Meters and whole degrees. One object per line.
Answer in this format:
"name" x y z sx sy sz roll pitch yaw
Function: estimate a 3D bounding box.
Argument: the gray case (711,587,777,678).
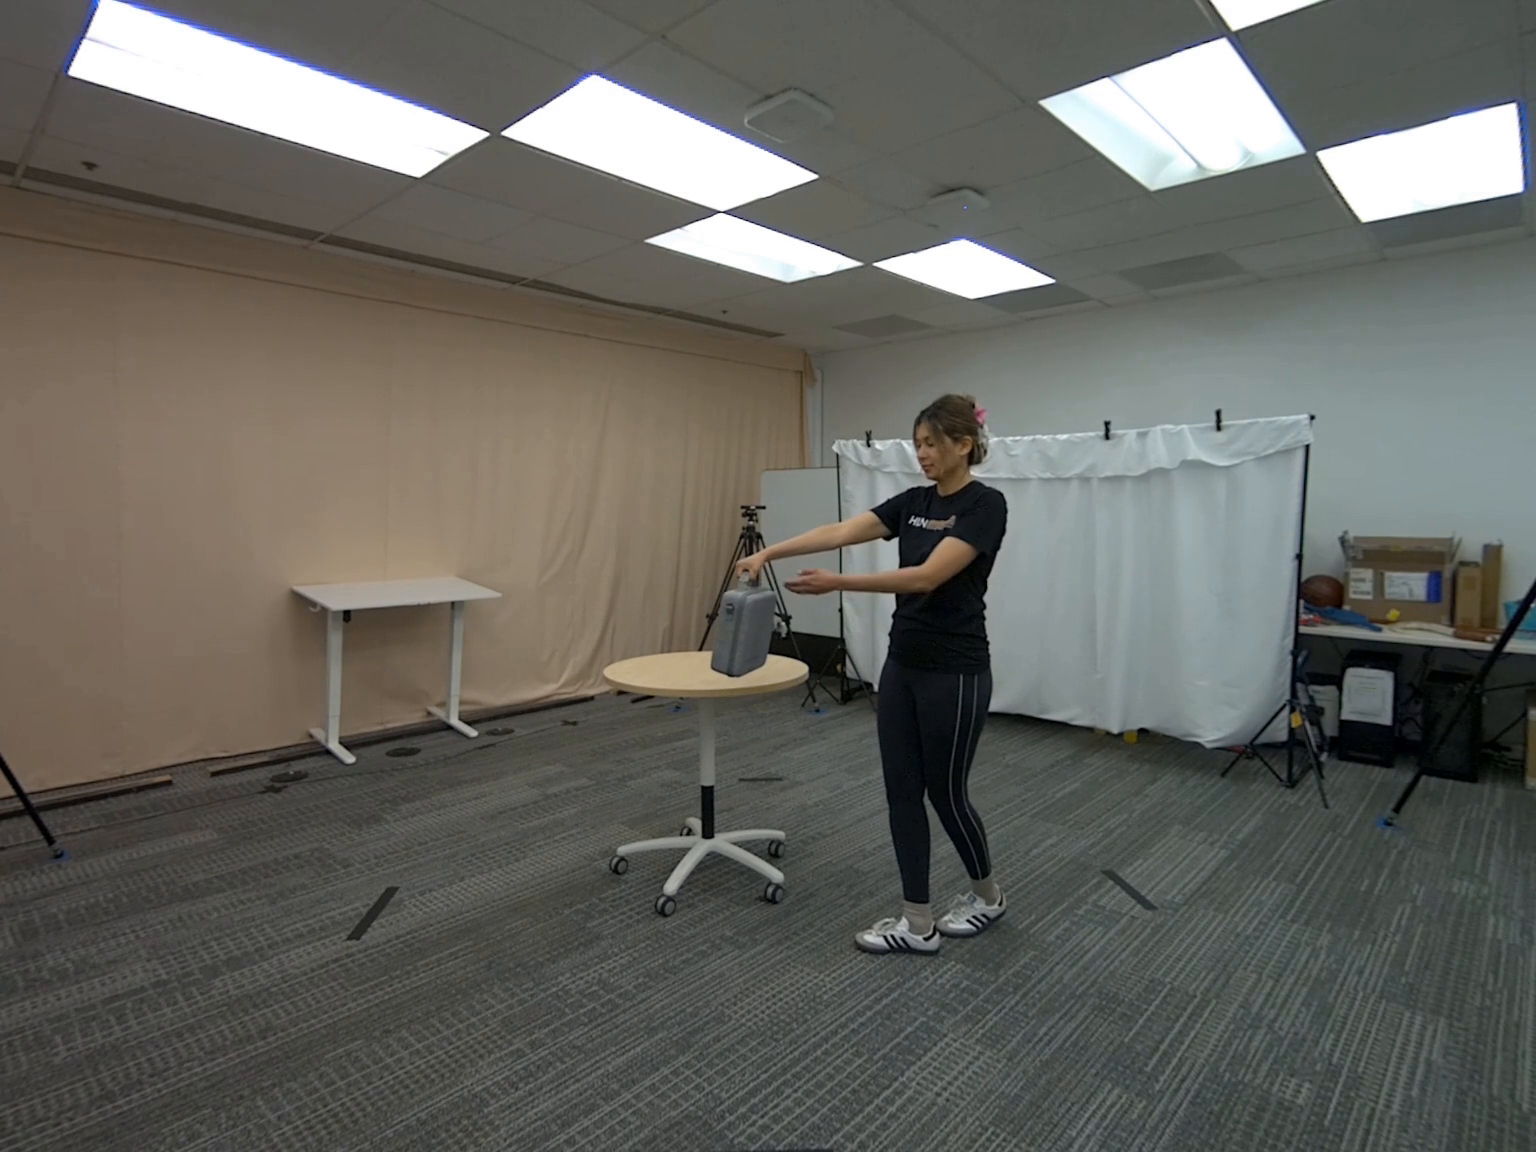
"gray case" -0.063 0.161 2.574 0.107 0.260 0.251 9 4 20
